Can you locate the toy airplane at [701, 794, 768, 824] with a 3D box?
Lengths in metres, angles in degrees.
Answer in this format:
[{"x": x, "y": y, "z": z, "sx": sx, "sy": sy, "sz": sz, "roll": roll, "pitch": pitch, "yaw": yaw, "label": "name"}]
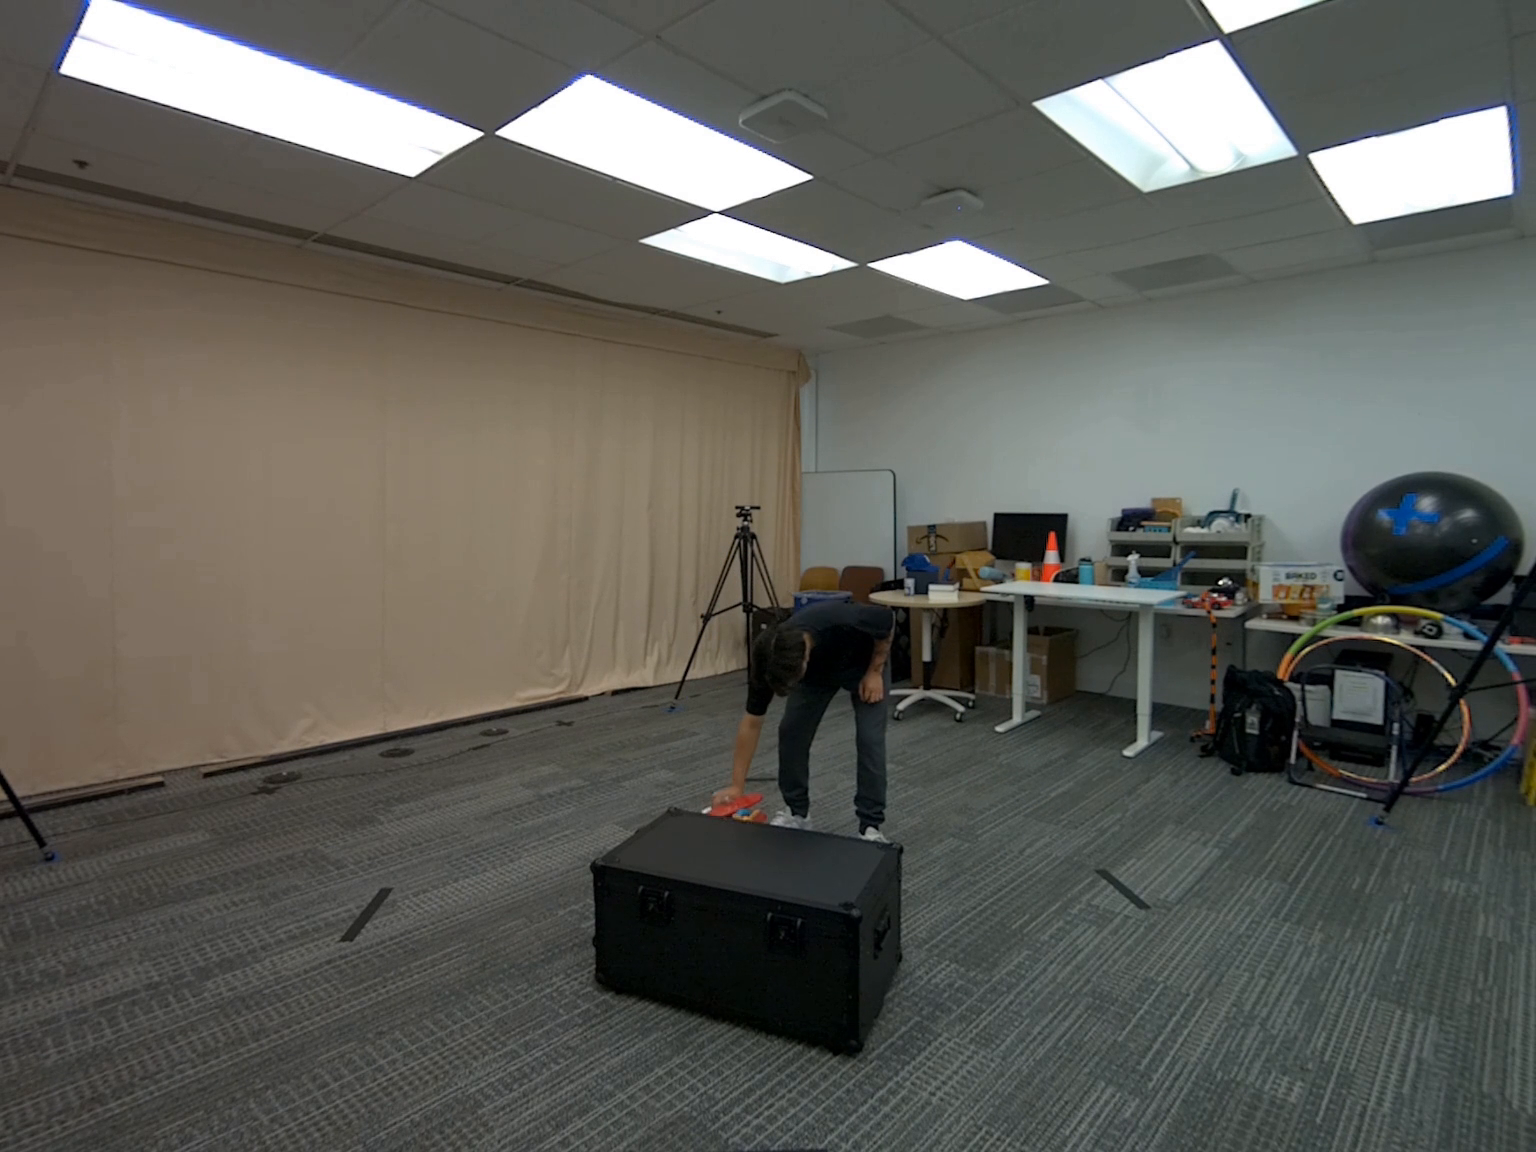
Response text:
[{"x": -0.159, "y": 0.920, "z": 3.226, "sx": 0.266, "sy": 0.155, "sz": 0.247, "roll": 8, "pitch": 19, "yaw": 27, "label": "toy airplane"}]
